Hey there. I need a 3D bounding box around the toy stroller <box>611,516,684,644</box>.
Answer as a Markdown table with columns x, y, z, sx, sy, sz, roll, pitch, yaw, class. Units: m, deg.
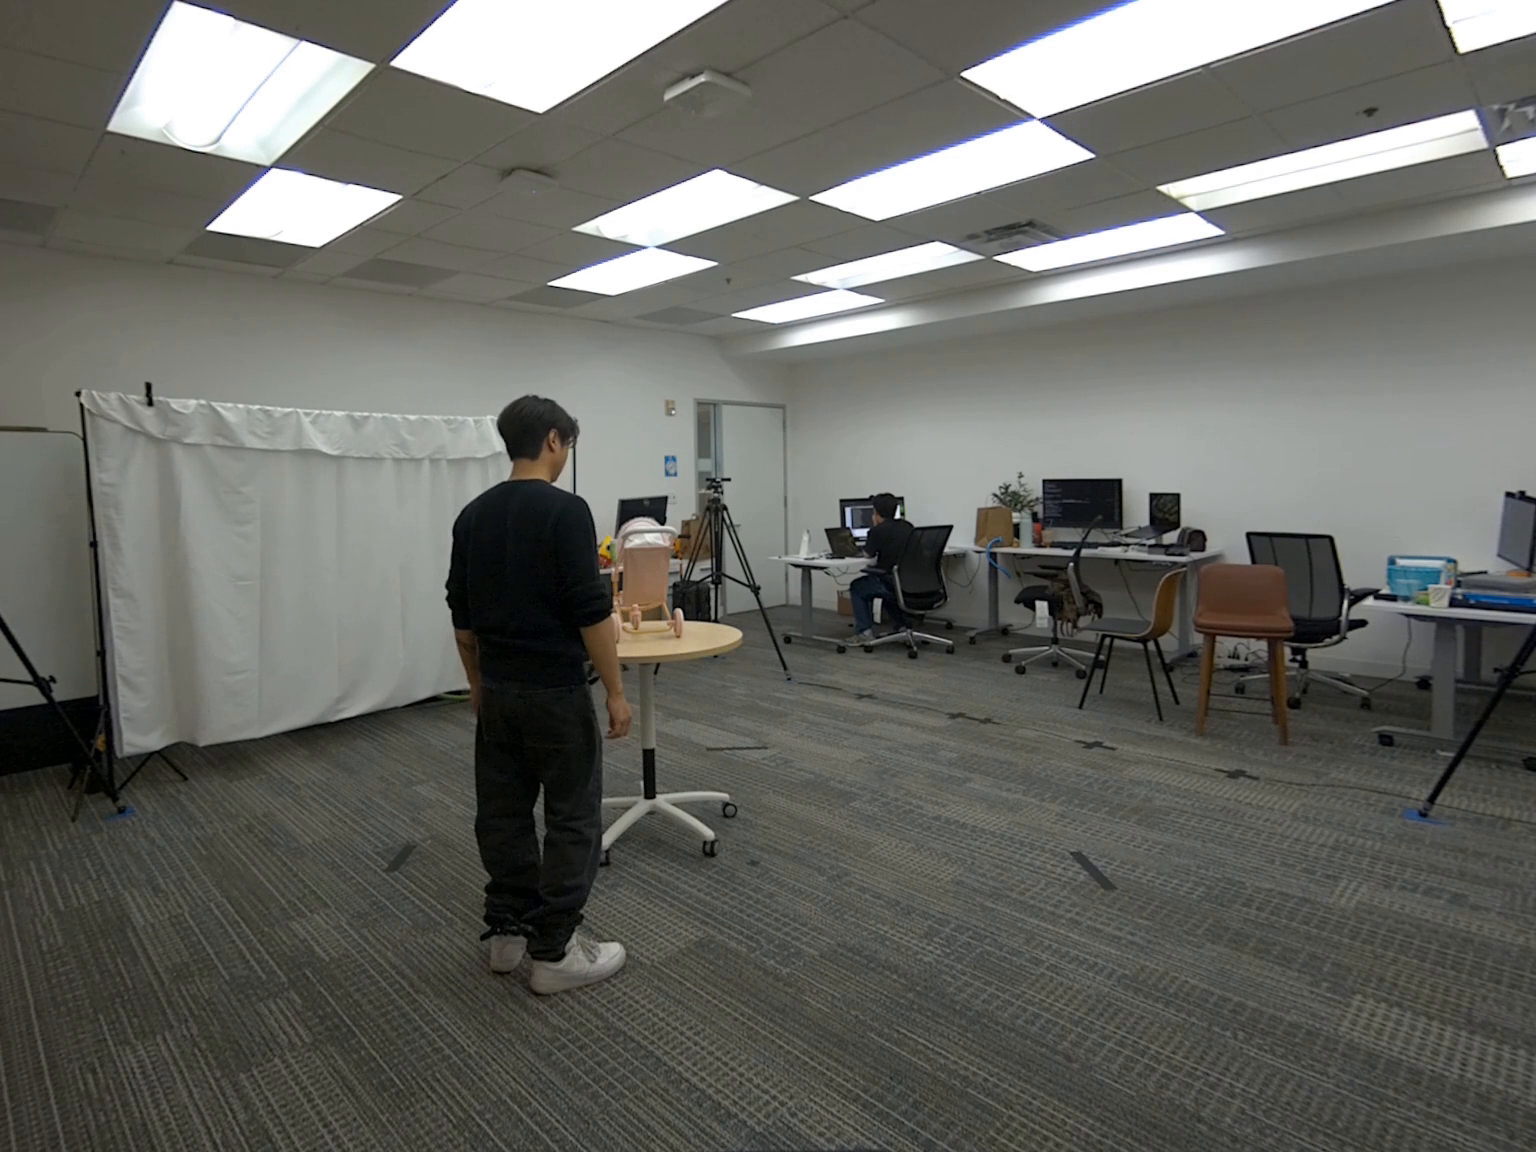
| x | y | z | sx | sy | sz | roll | pitch | yaw | class |
| --- | --- | --- | --- | --- | --- | --- | --- | --- | --- |
| -0.489 | 0.013 | 3.352 | 0.278 | 0.527 | 0.351 | -2 | 19 | -14 | toy stroller |
